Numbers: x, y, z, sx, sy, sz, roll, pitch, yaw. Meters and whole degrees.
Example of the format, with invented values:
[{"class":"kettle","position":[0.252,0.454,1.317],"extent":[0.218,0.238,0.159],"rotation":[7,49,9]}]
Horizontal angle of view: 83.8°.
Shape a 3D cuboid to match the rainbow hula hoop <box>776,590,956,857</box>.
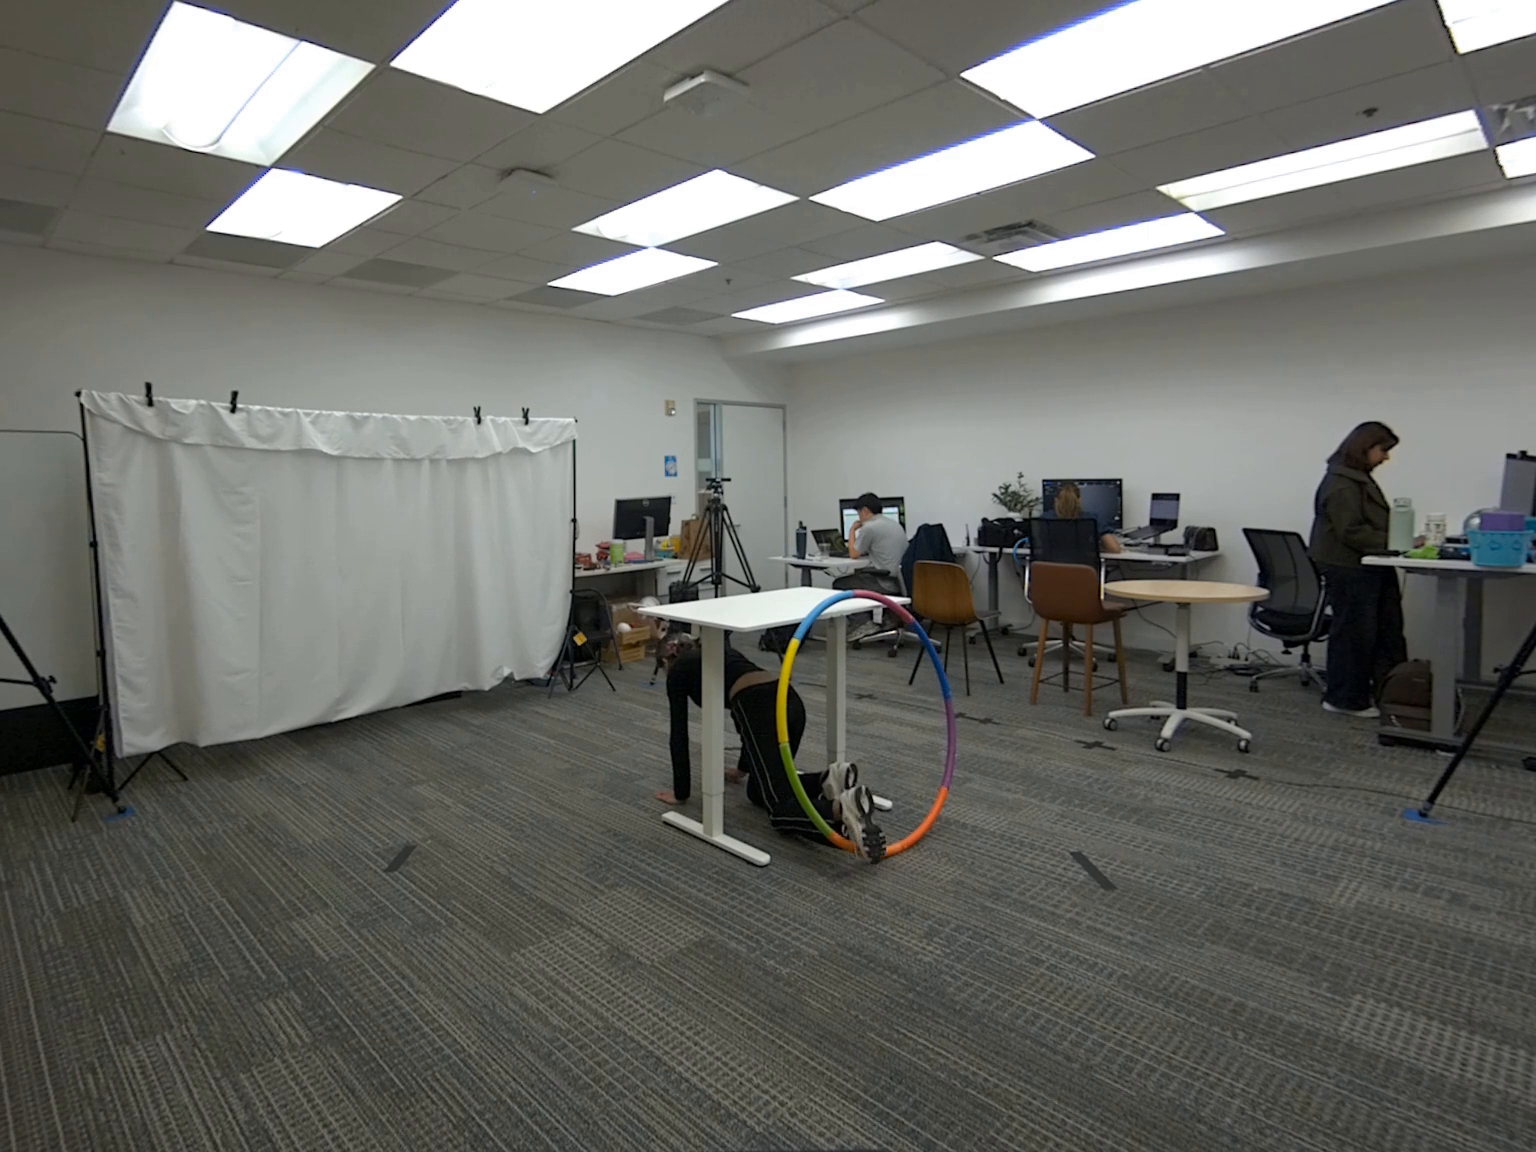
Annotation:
[{"class":"rainbow hula hoop","position":[0.402,0.546,3.241],"extent":[0.953,0.986,0.036],"rotation":[-5,-9,-43]}]
